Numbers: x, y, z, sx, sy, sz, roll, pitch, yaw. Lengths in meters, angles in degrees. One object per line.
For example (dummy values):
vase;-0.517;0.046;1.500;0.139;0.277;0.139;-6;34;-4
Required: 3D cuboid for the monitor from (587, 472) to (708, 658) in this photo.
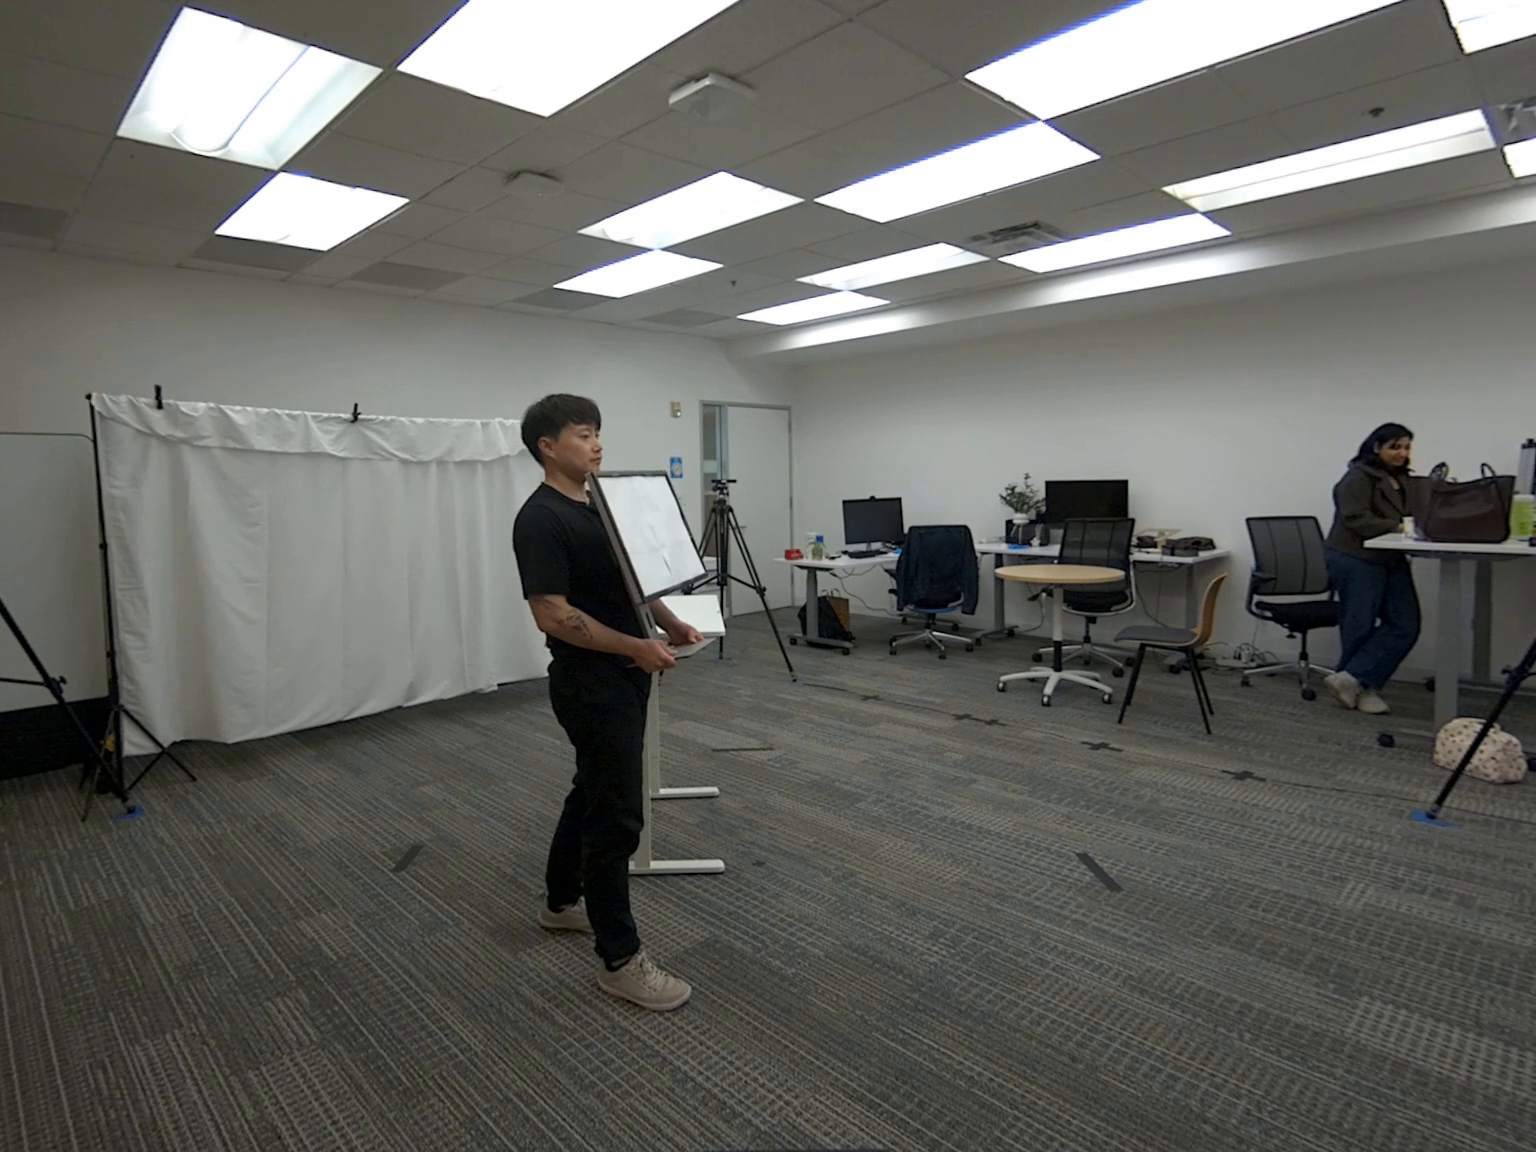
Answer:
monitor;-0.333;-0.033;2.442;0.189;0.522;0.534;-12;2;13
